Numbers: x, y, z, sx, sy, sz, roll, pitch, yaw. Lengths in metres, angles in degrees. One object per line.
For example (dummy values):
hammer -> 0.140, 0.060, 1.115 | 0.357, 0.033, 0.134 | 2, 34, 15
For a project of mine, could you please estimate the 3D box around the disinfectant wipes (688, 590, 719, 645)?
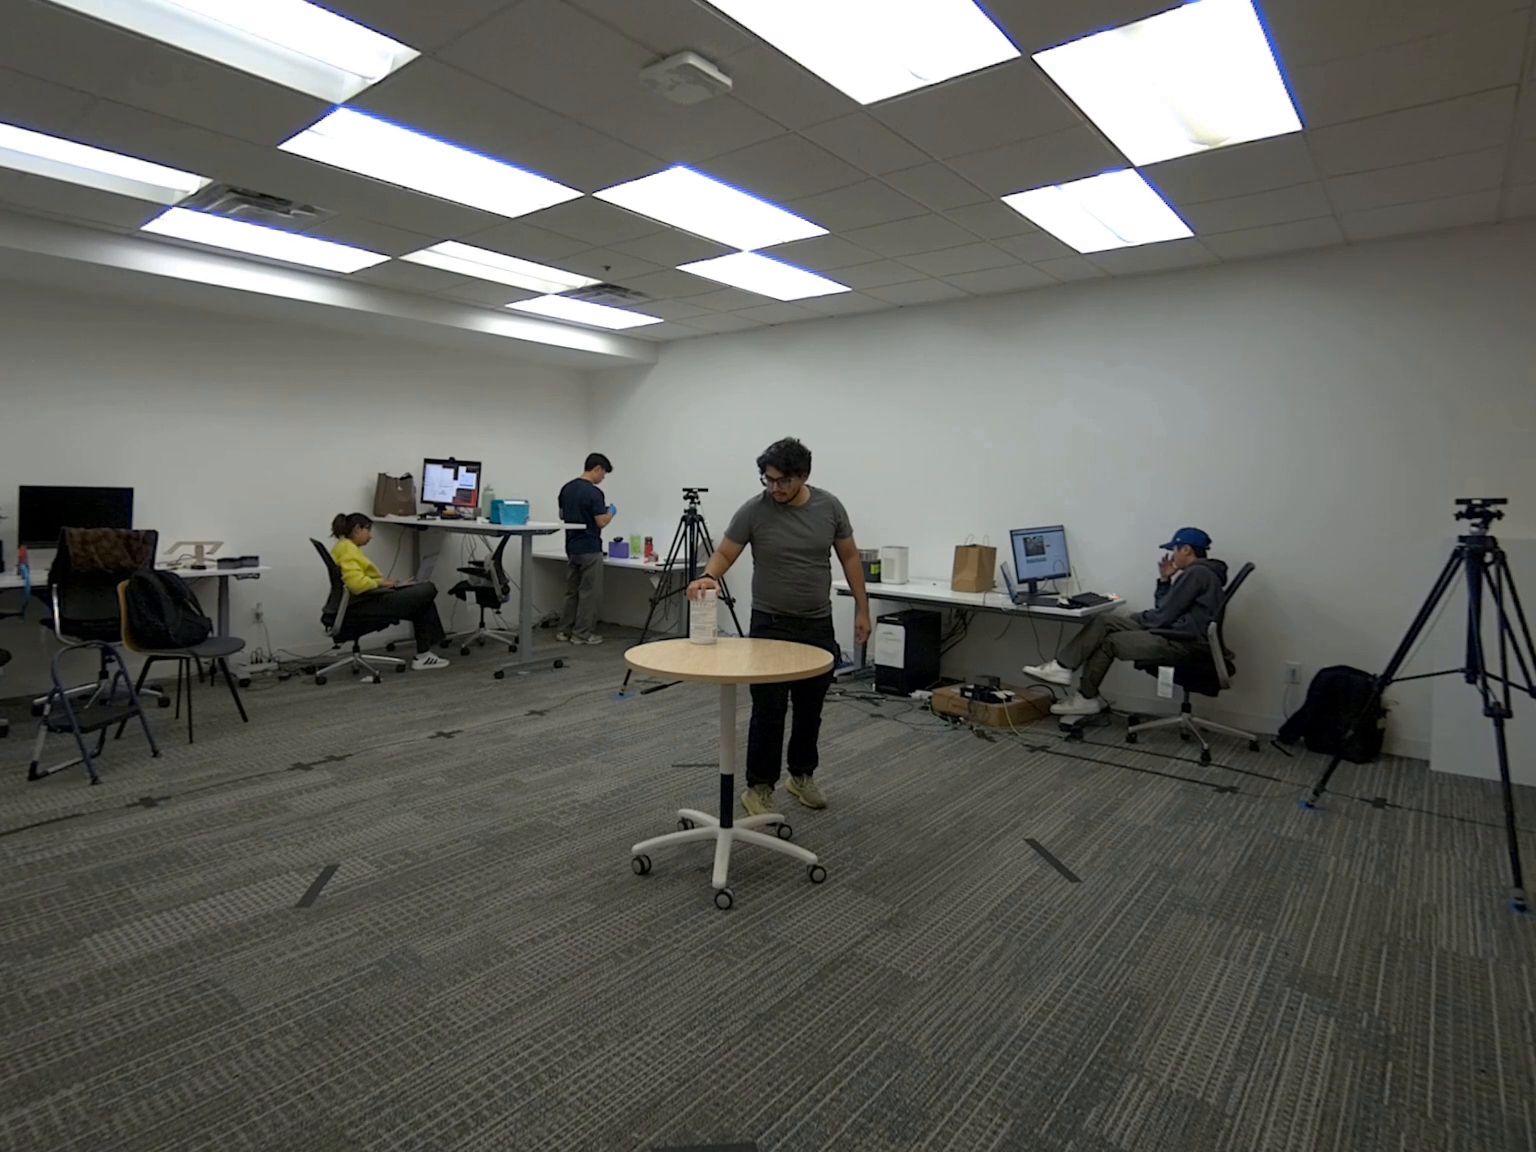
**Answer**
disinfectant wipes -> -0.262, 0.157, 3.383 | 0.118, 0.218, 0.118 | 2, -1, -2
